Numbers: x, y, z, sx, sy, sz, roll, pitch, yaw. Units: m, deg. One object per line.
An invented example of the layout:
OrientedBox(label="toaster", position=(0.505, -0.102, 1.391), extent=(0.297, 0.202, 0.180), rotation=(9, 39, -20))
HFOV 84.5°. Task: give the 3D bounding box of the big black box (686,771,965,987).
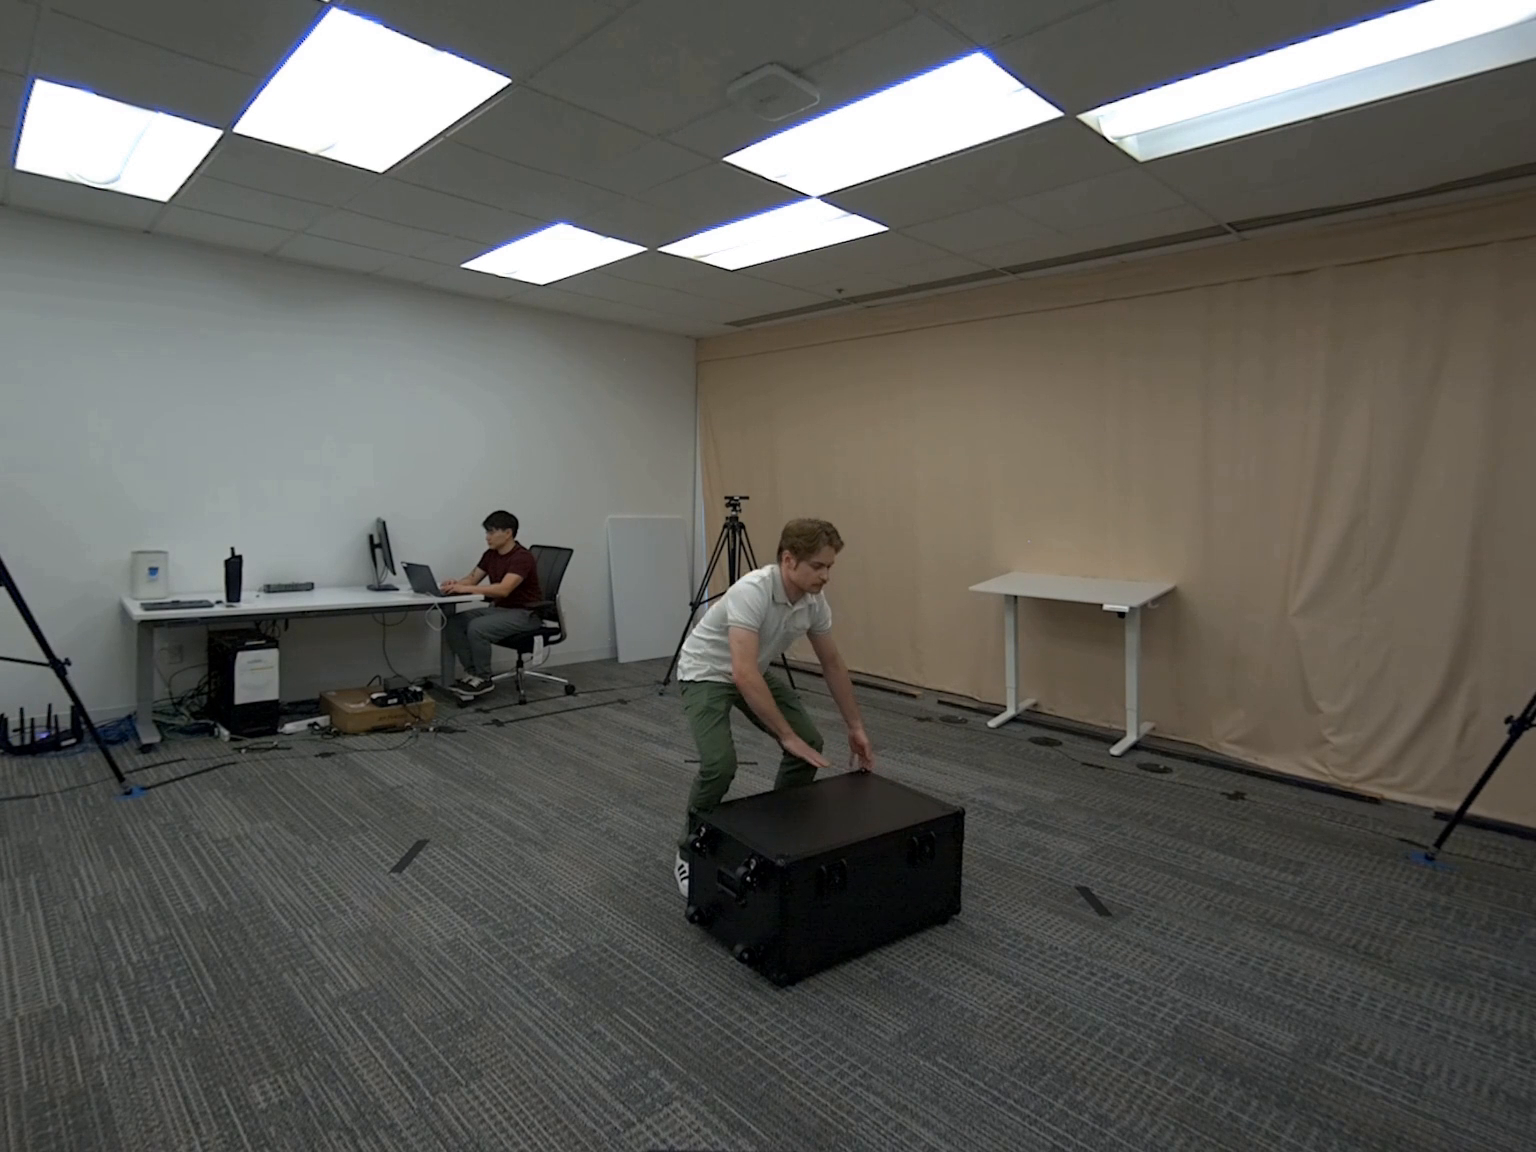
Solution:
OrientedBox(label="big black box", position=(0.158, 0.947, 2.754), extent=(0.850, 0.384, 0.537), rotation=(-2, 7, -36))
